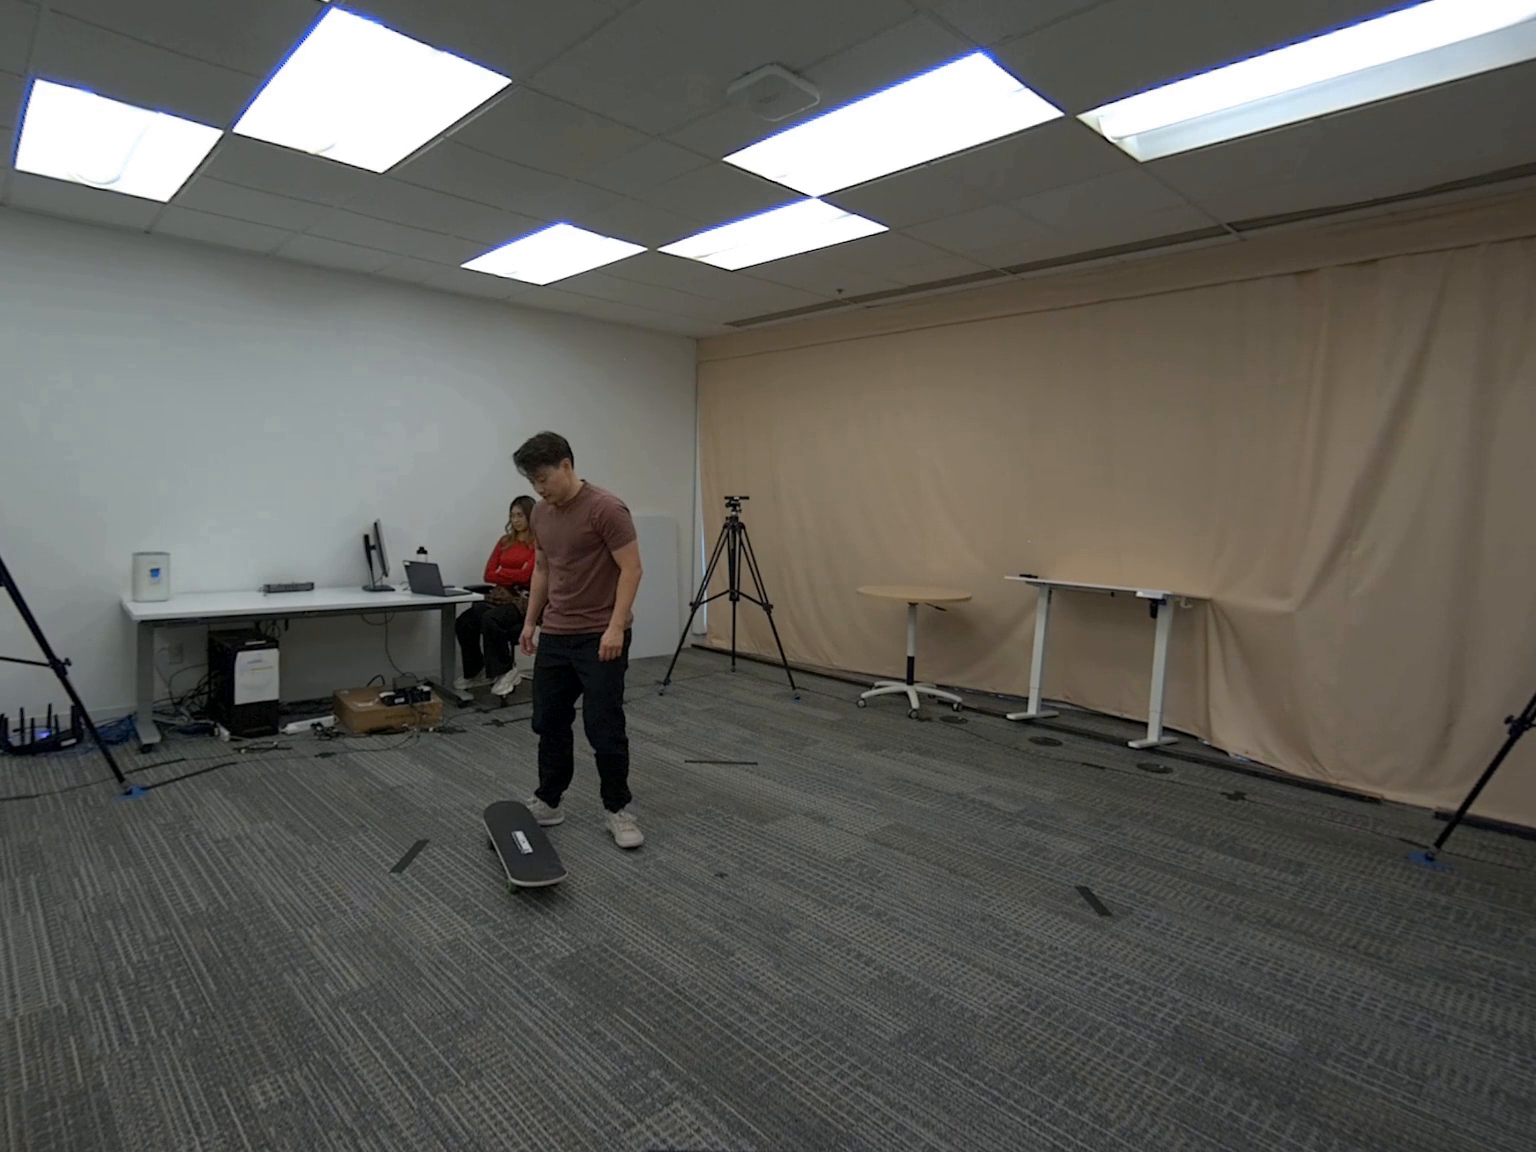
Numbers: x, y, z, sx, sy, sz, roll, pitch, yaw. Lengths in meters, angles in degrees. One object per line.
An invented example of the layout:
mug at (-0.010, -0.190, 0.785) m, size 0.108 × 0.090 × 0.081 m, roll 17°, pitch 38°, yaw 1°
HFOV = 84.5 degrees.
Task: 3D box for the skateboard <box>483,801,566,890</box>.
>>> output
skateboard at (-0.927, 1.032, 3.140) m, size 0.190 × 0.110 × 0.802 m, roll 0°, pitch 5°, yaw -26°
